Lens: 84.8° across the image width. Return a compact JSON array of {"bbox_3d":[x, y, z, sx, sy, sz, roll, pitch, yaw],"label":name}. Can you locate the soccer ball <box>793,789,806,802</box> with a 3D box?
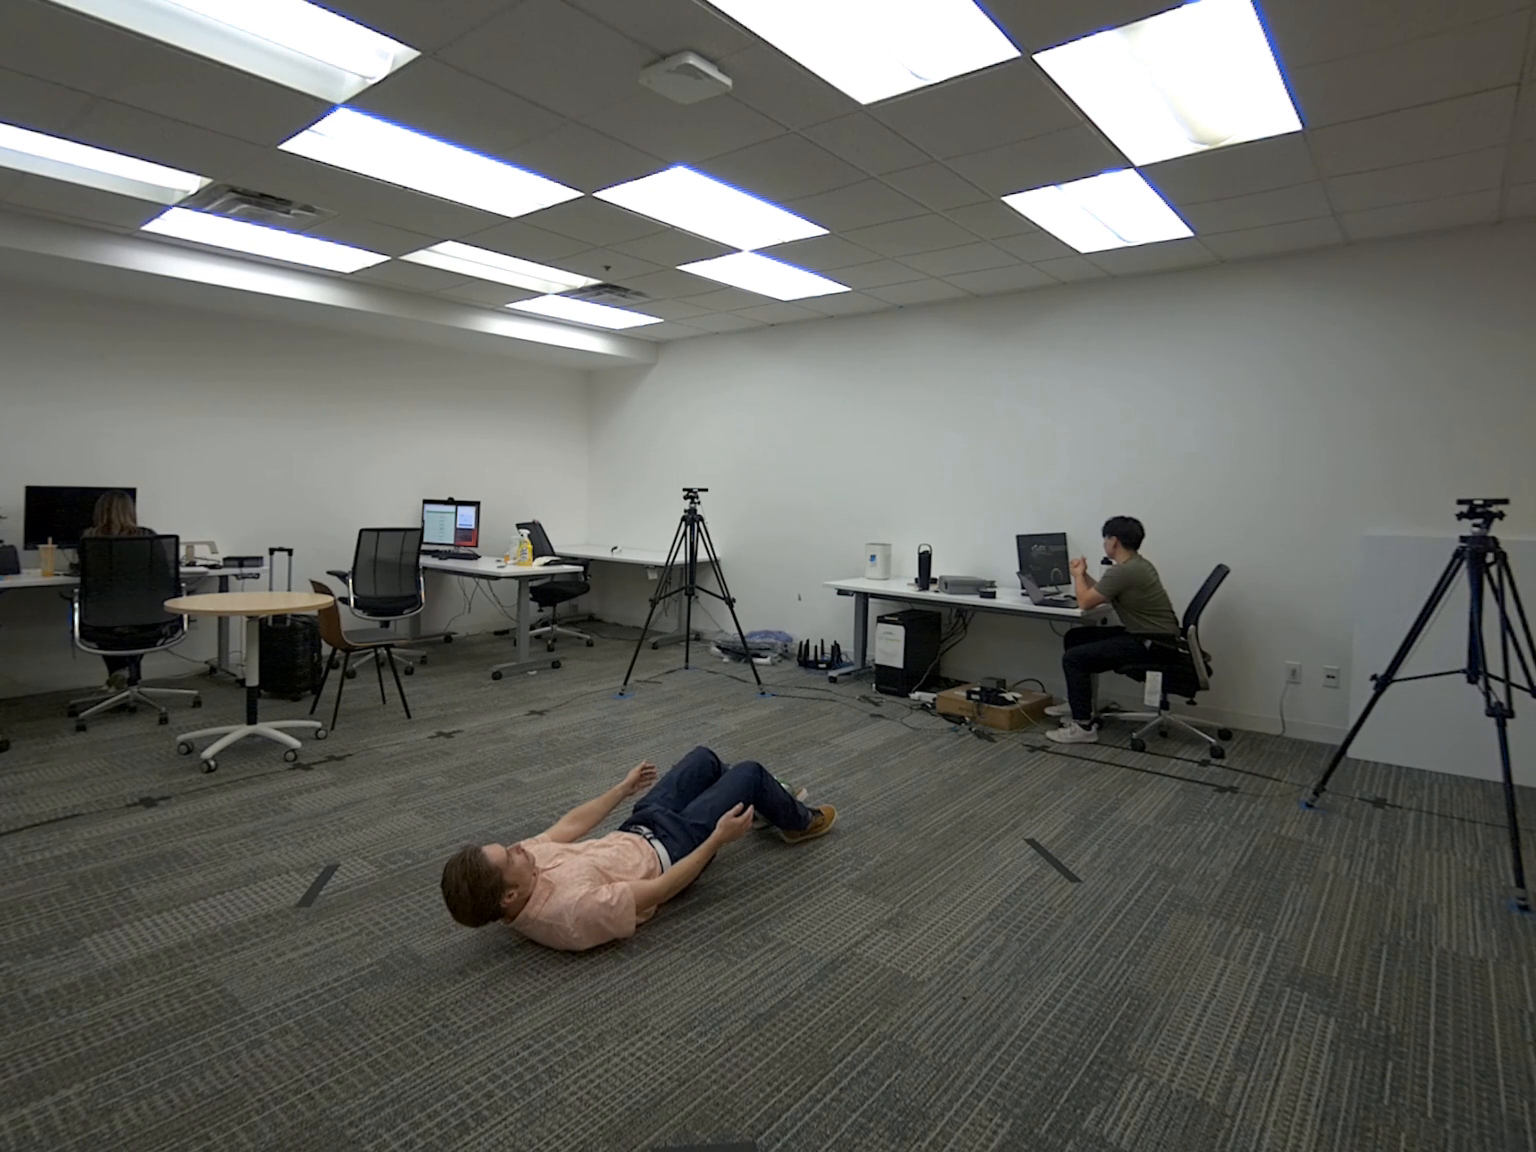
[{"bbox_3d":[0.016,0.898,3.409,0.187,0.187,0.188,1,4,-2],"label":"soccer ball"}]
